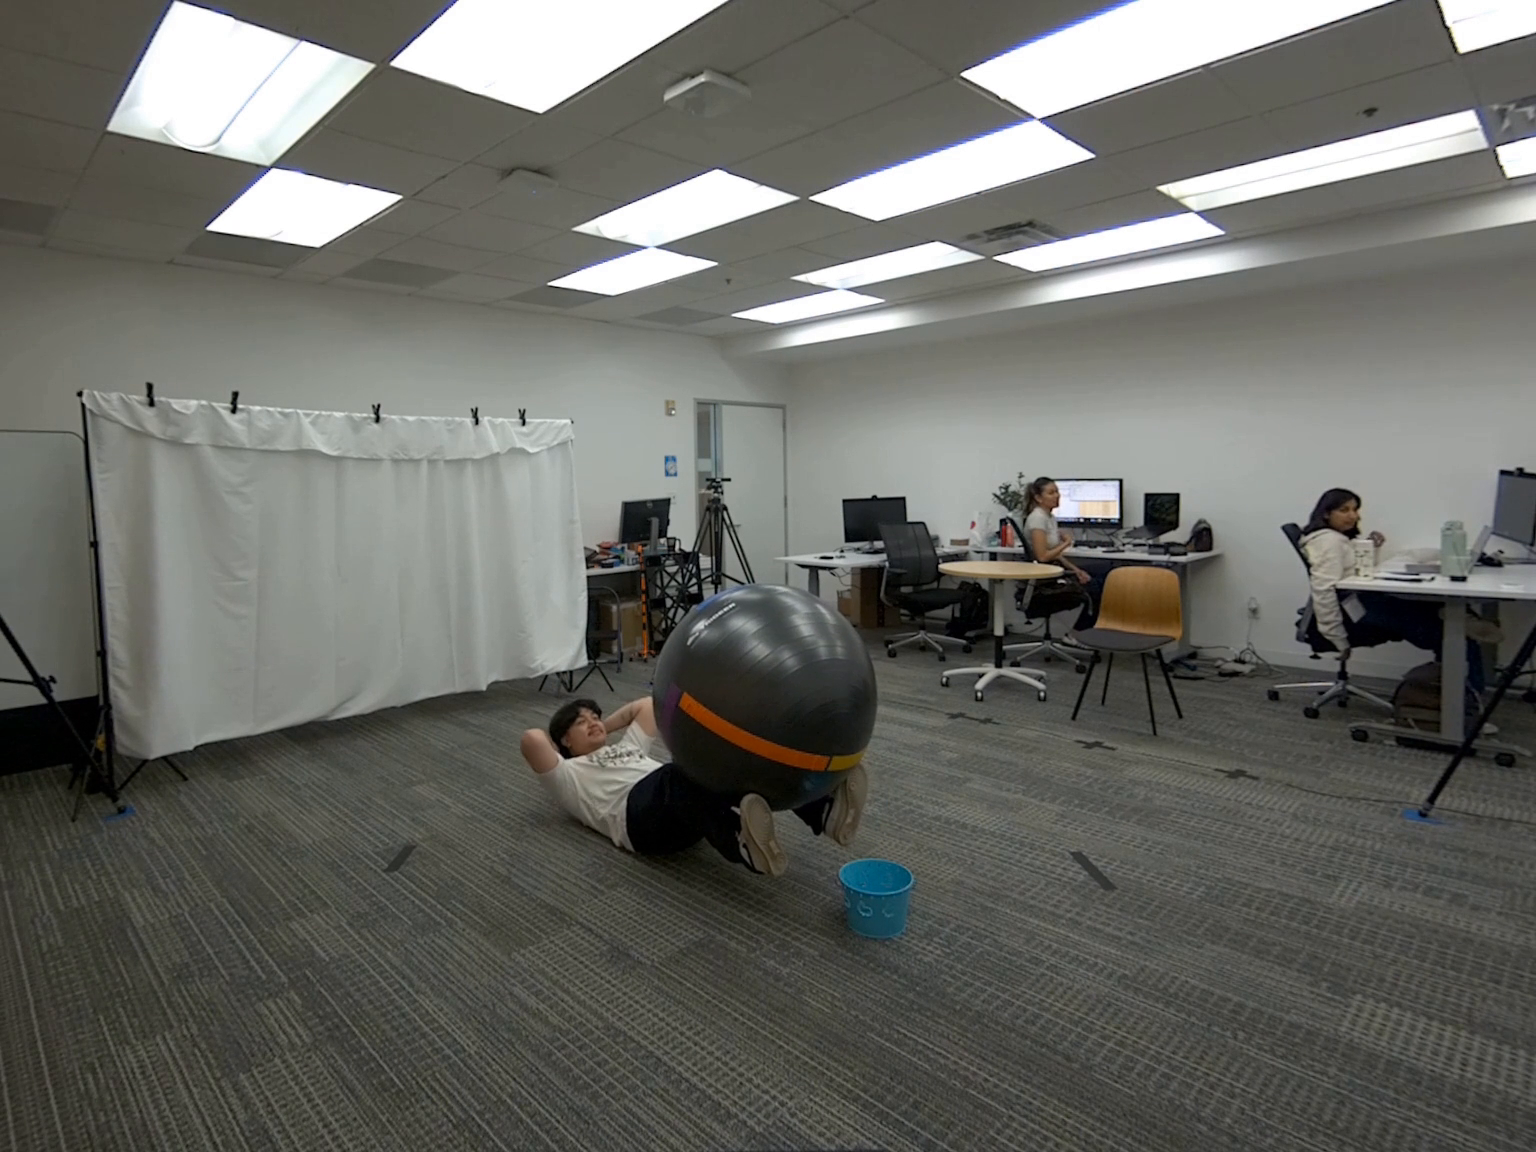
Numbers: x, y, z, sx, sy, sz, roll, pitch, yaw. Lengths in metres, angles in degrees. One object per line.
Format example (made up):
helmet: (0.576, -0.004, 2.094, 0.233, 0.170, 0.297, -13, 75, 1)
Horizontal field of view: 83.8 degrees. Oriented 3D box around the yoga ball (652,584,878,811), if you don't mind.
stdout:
yoga ball: (-0.011, 0.399, 2.904, 0.757, 0.755, 0.762, -1, 5, -2)
